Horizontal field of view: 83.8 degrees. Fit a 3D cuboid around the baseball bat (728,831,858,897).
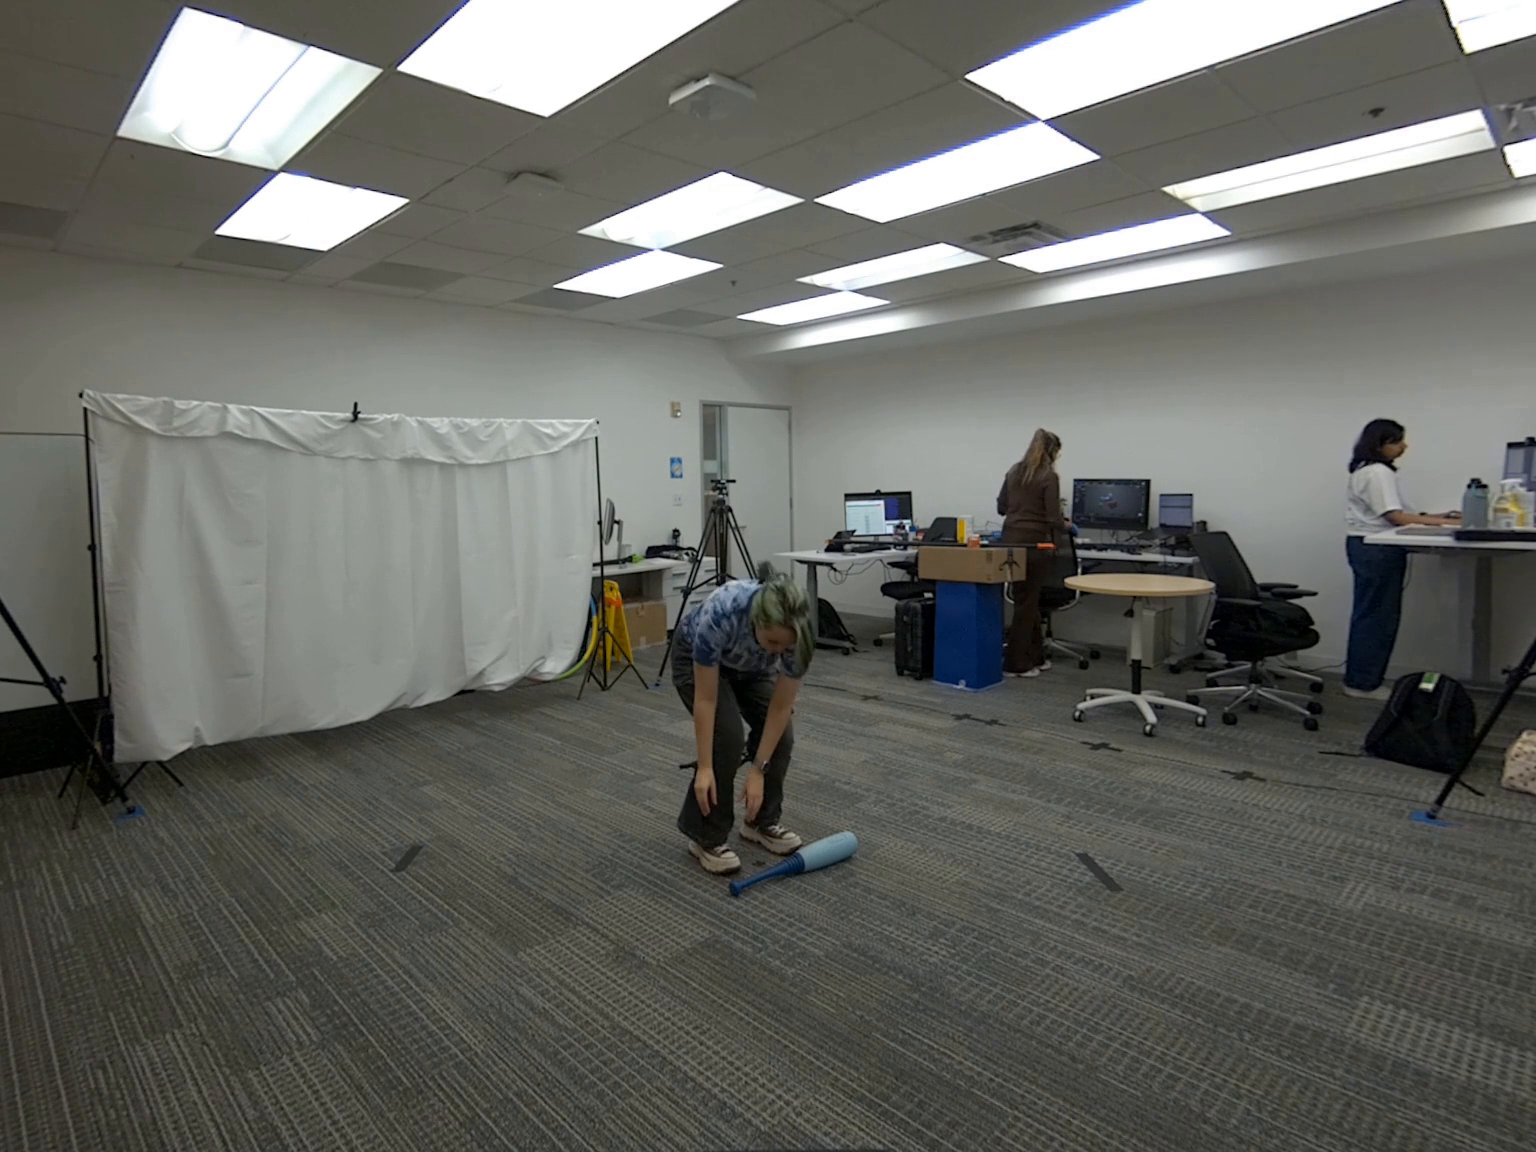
[{"bbox_3d":[0.089,1.012,3.018,0.531,0.088,0.091,-7,7,-31],"label":"baseball bat"}]
